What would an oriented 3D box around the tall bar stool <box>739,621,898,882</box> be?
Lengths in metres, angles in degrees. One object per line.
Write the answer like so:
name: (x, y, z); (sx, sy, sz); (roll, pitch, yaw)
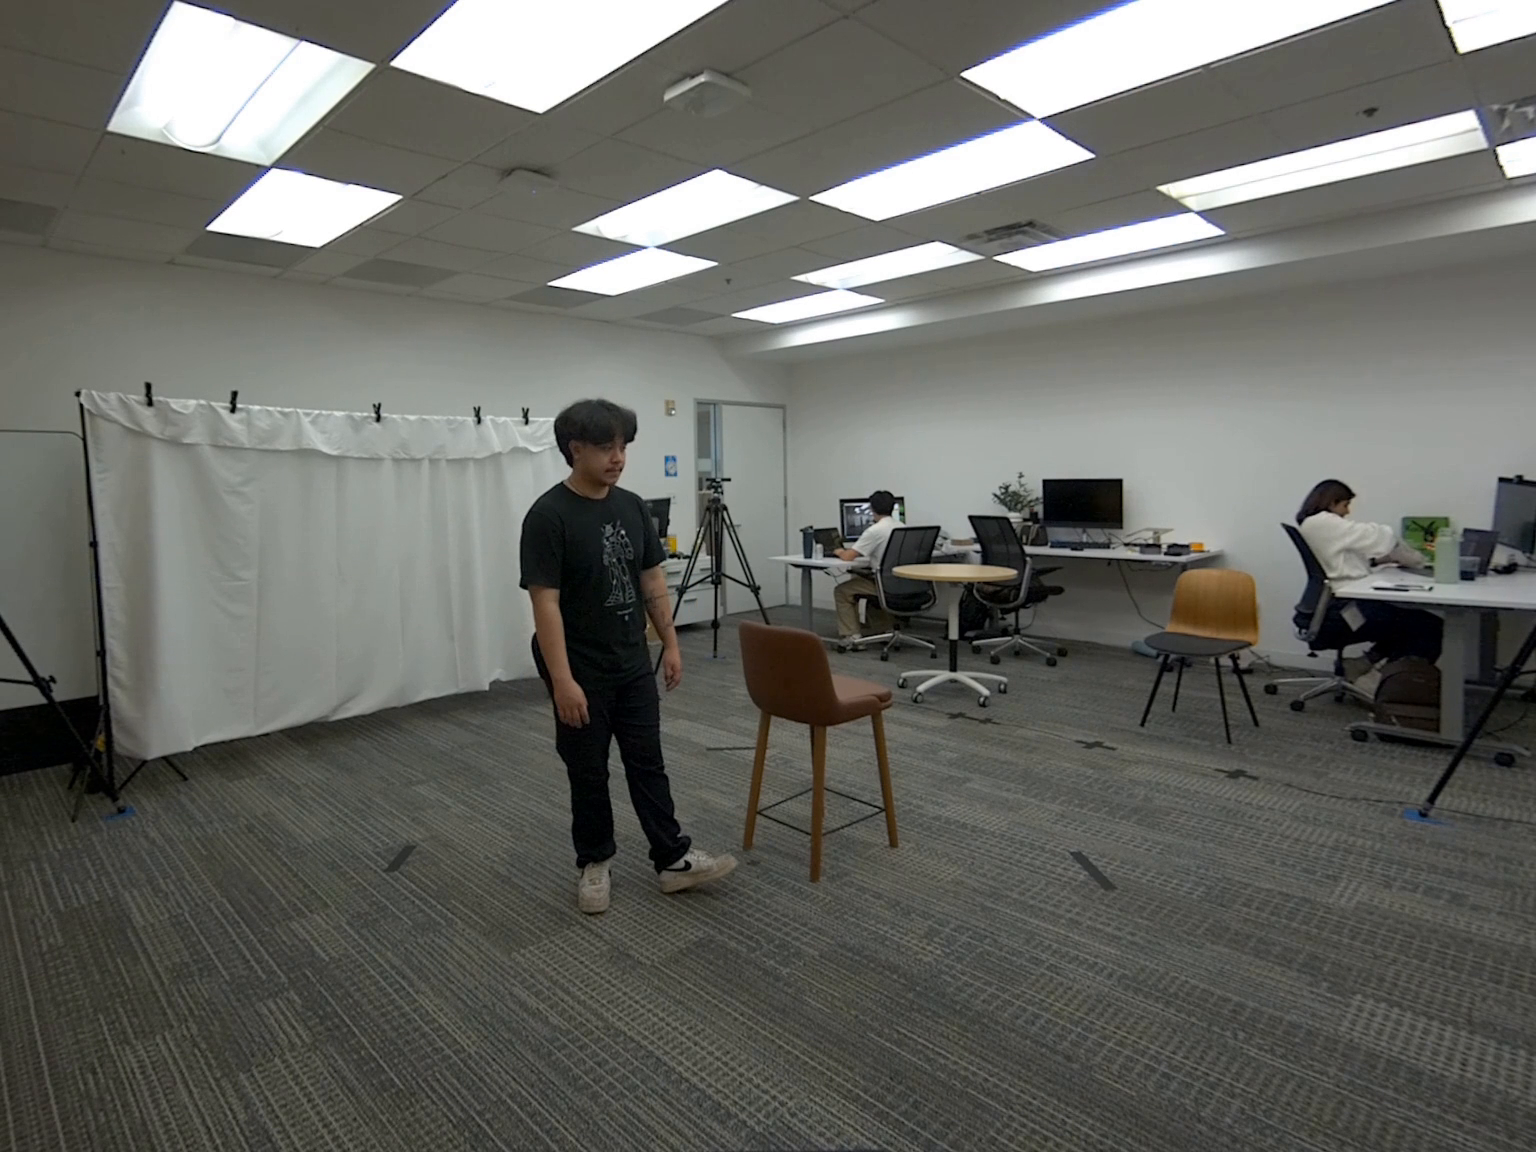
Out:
tall bar stool: (0.179, 0.592, 3.201); (0.456, 0.885, 0.470); (-7, 7, -42)
